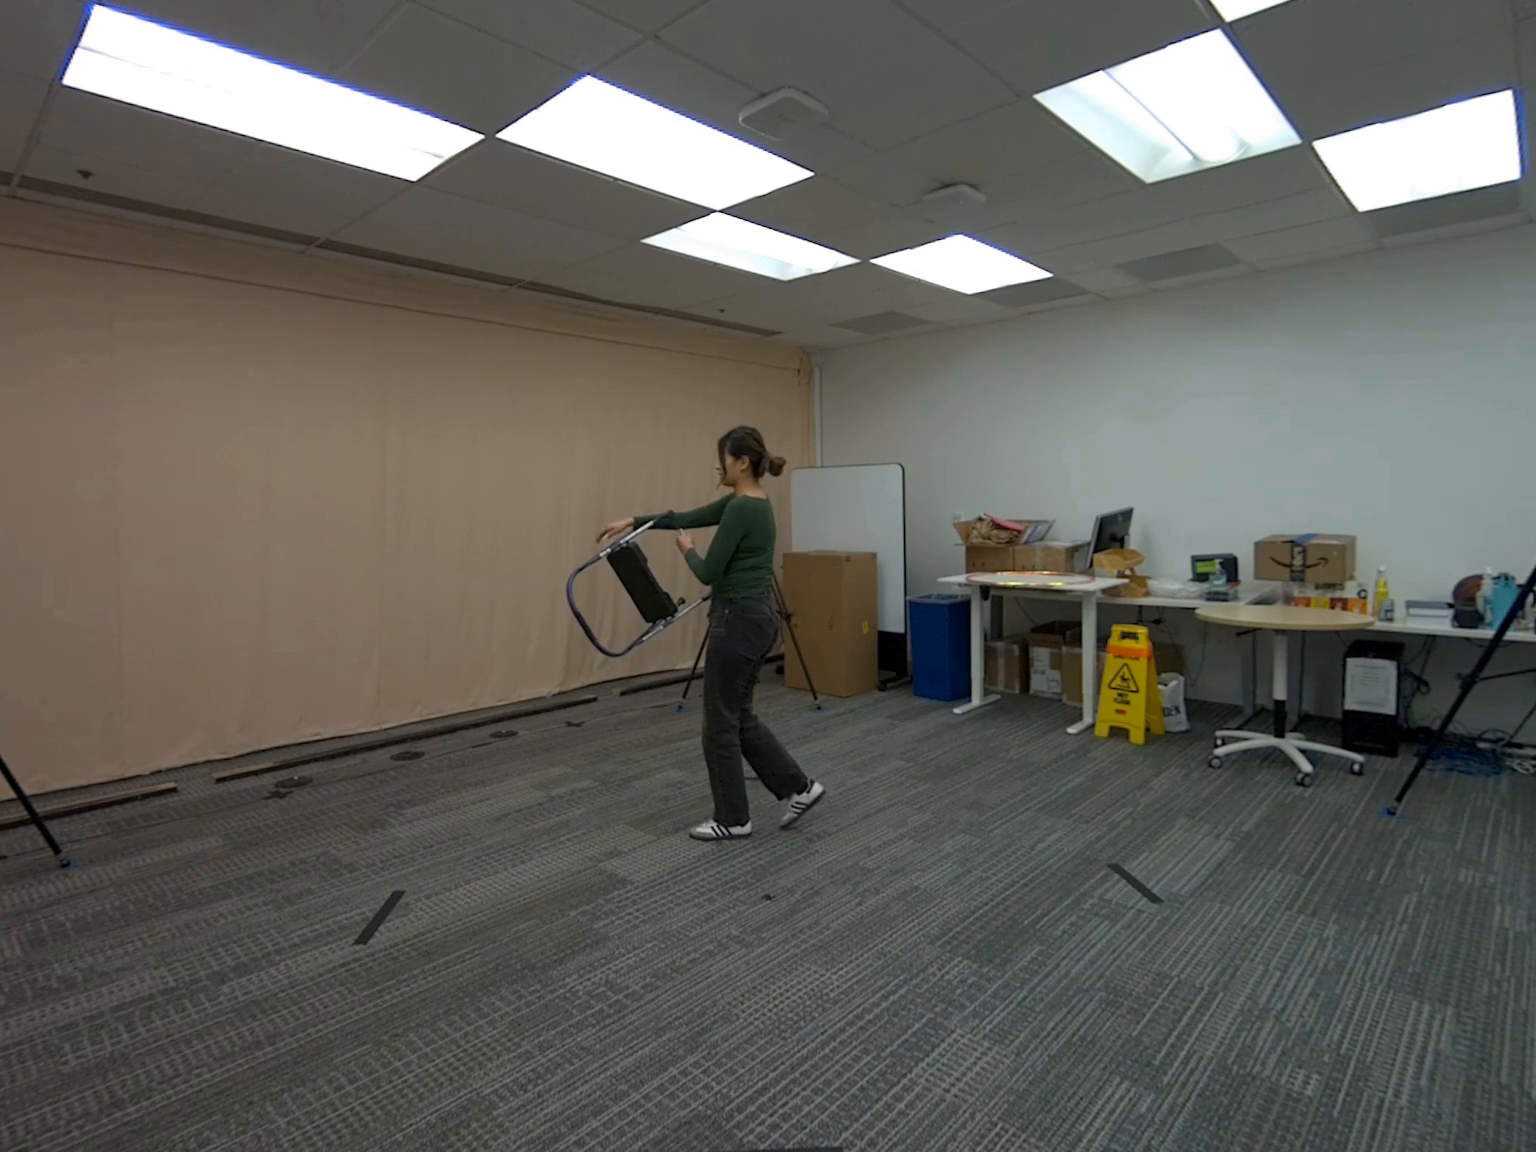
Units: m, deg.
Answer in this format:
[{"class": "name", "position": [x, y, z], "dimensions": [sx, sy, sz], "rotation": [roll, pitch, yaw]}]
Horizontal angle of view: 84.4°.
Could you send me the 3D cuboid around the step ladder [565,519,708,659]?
[{"class": "step ladder", "position": [-0.589, 0.074, 3.607], "dimensions": [0.598, 0.427, 0.357], "rotation": [-39, 10, -35]}]
